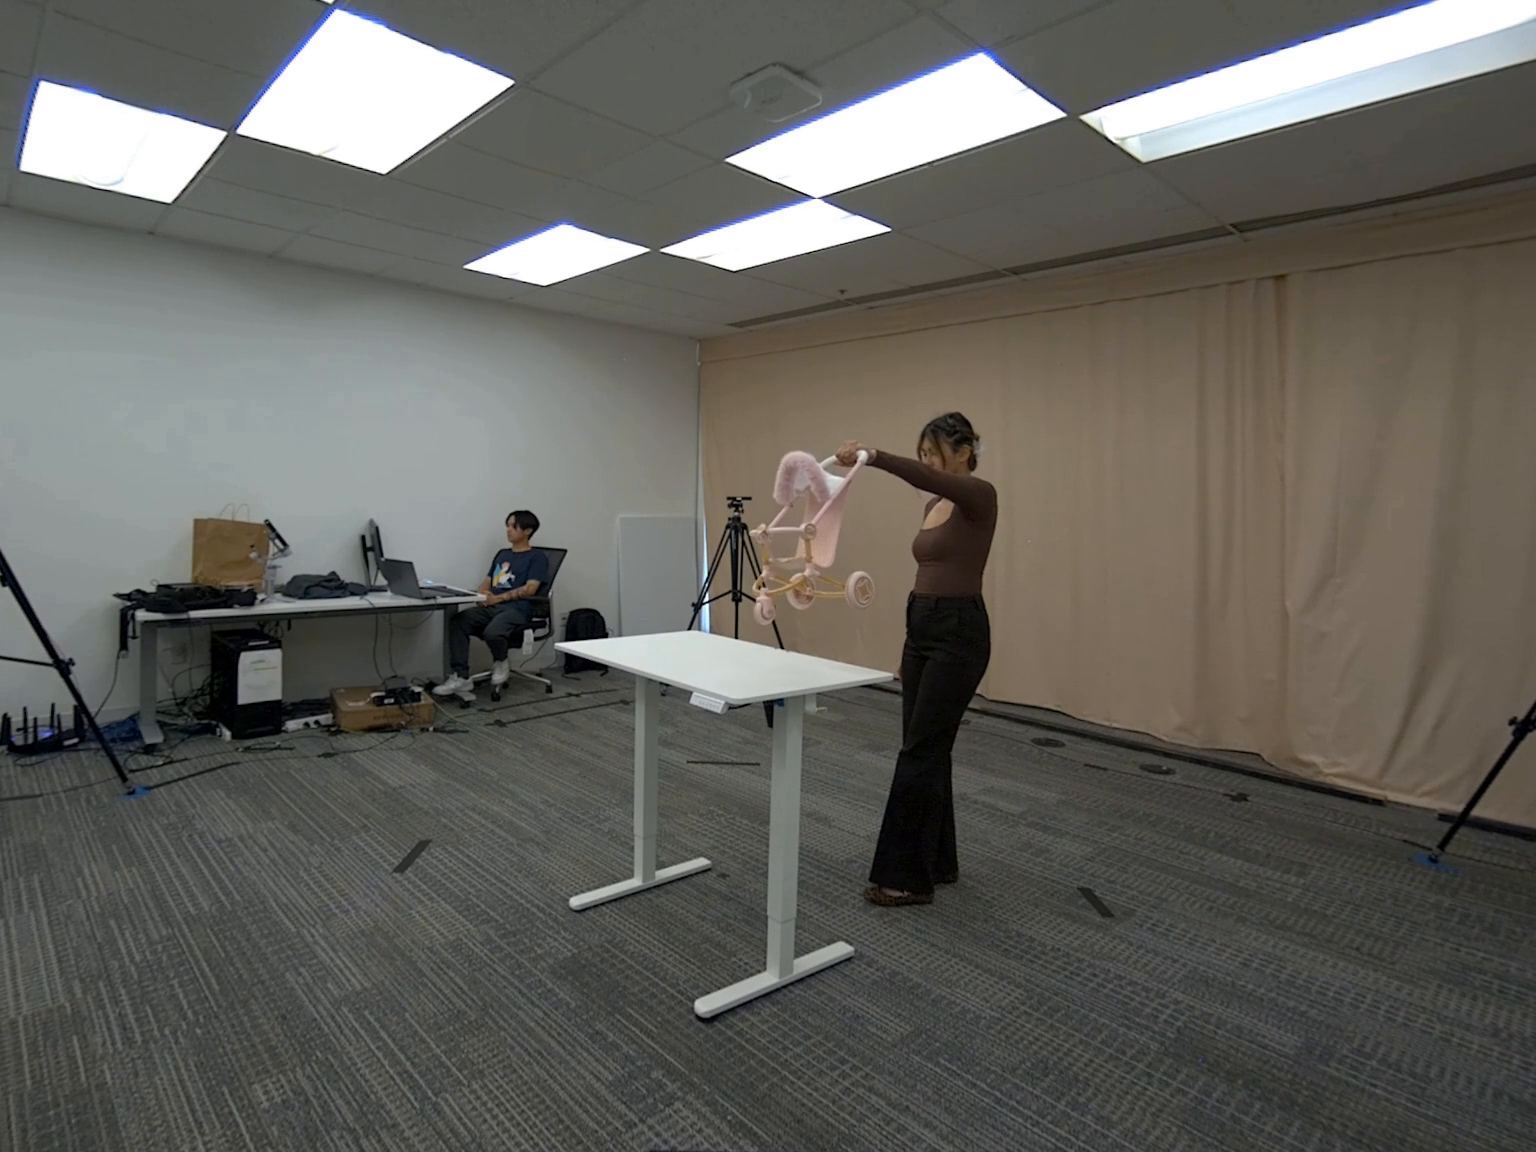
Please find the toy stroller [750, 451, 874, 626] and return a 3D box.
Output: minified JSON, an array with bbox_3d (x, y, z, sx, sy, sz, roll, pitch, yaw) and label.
[{"bbox_3d":[0.103,-0.117,2.442,0.333,0.537,0.287,6,-6,-34],"label":"toy stroller"}]
